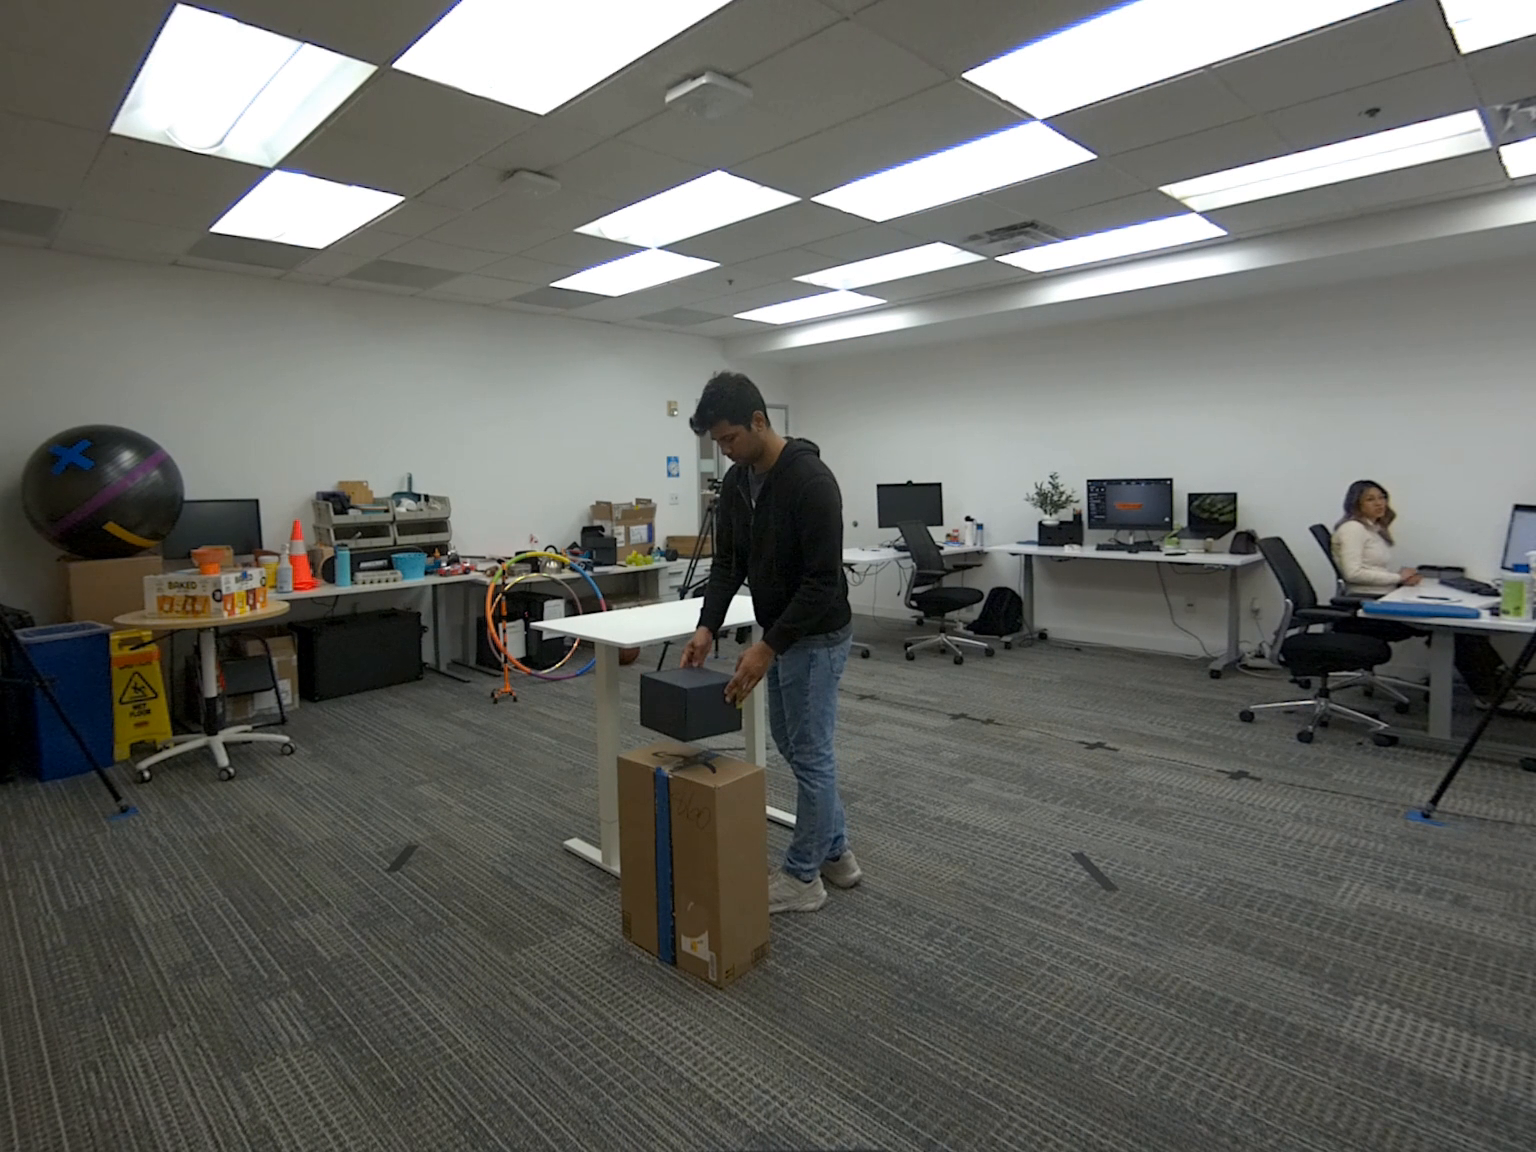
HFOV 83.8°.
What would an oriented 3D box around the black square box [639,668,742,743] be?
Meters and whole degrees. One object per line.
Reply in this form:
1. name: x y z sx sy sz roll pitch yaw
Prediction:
1. black square box: -0.229 0.369 2.532 0.211 0.155 0.235 -3 6 -42
